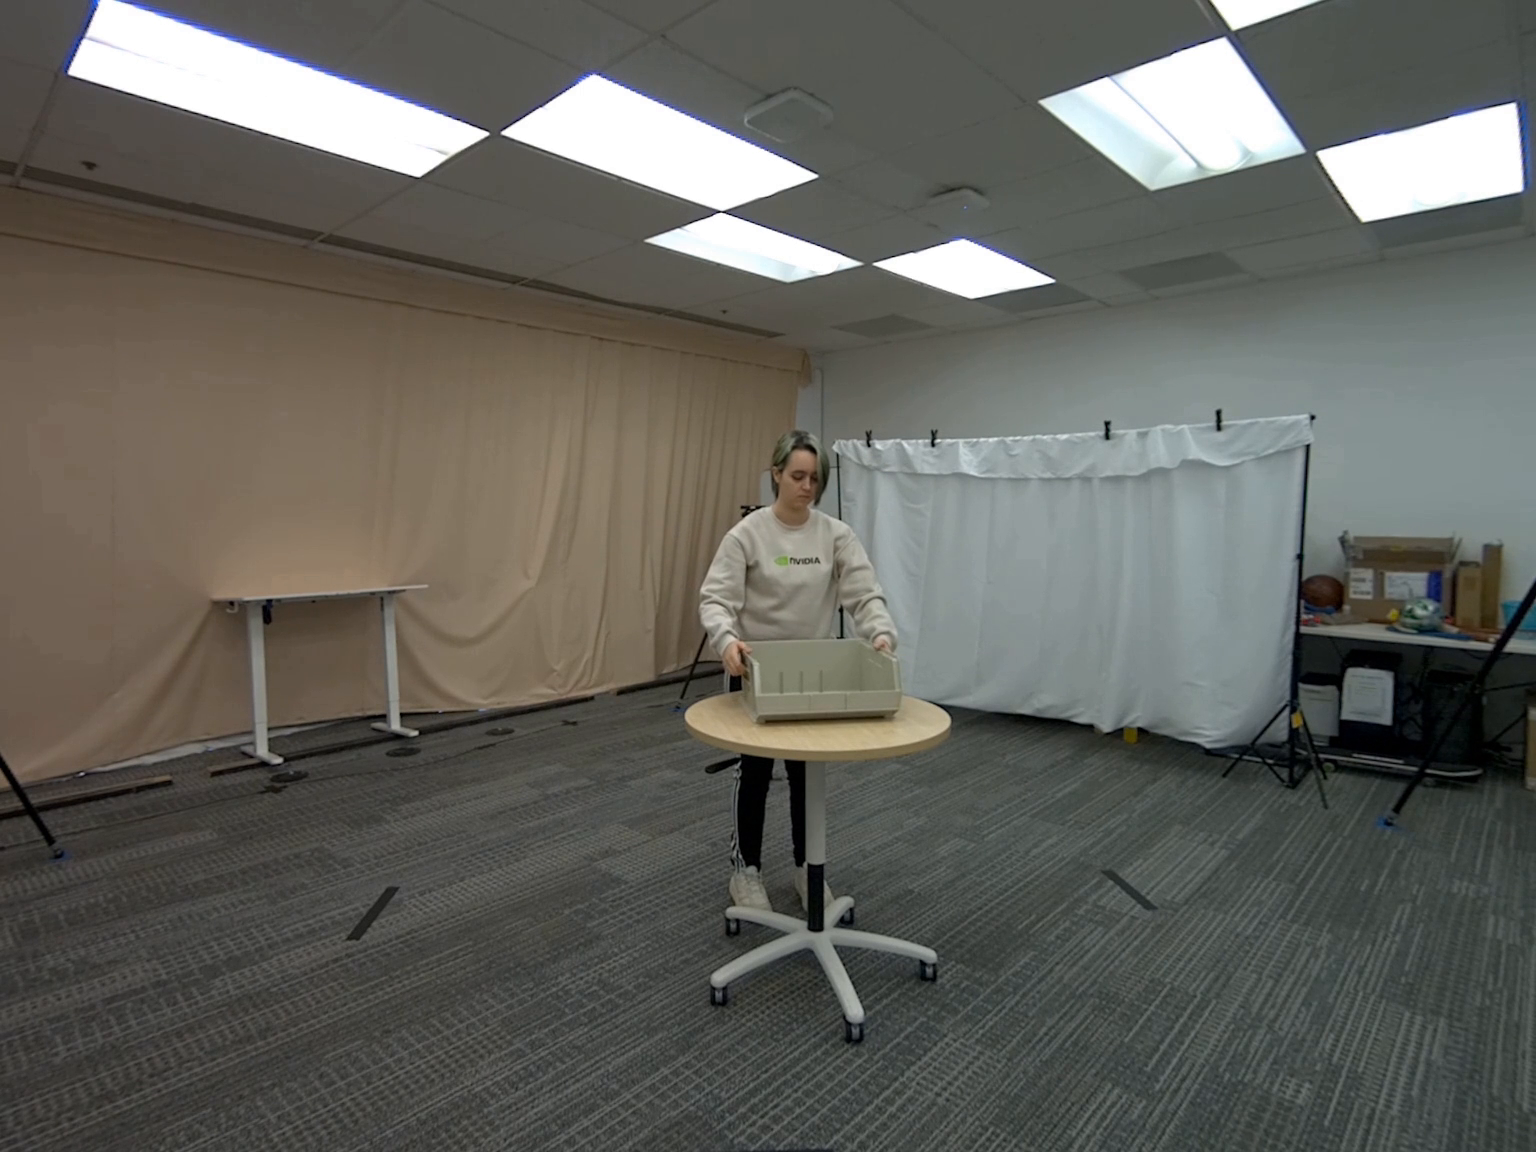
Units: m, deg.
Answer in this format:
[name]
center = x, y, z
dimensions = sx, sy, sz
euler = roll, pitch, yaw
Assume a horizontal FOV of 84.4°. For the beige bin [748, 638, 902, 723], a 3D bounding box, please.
[beige bin]
center = 0.137, 0.312, 2.506
dimensions = 0.419, 0.188, 0.382
euler = -2, 4, -9
